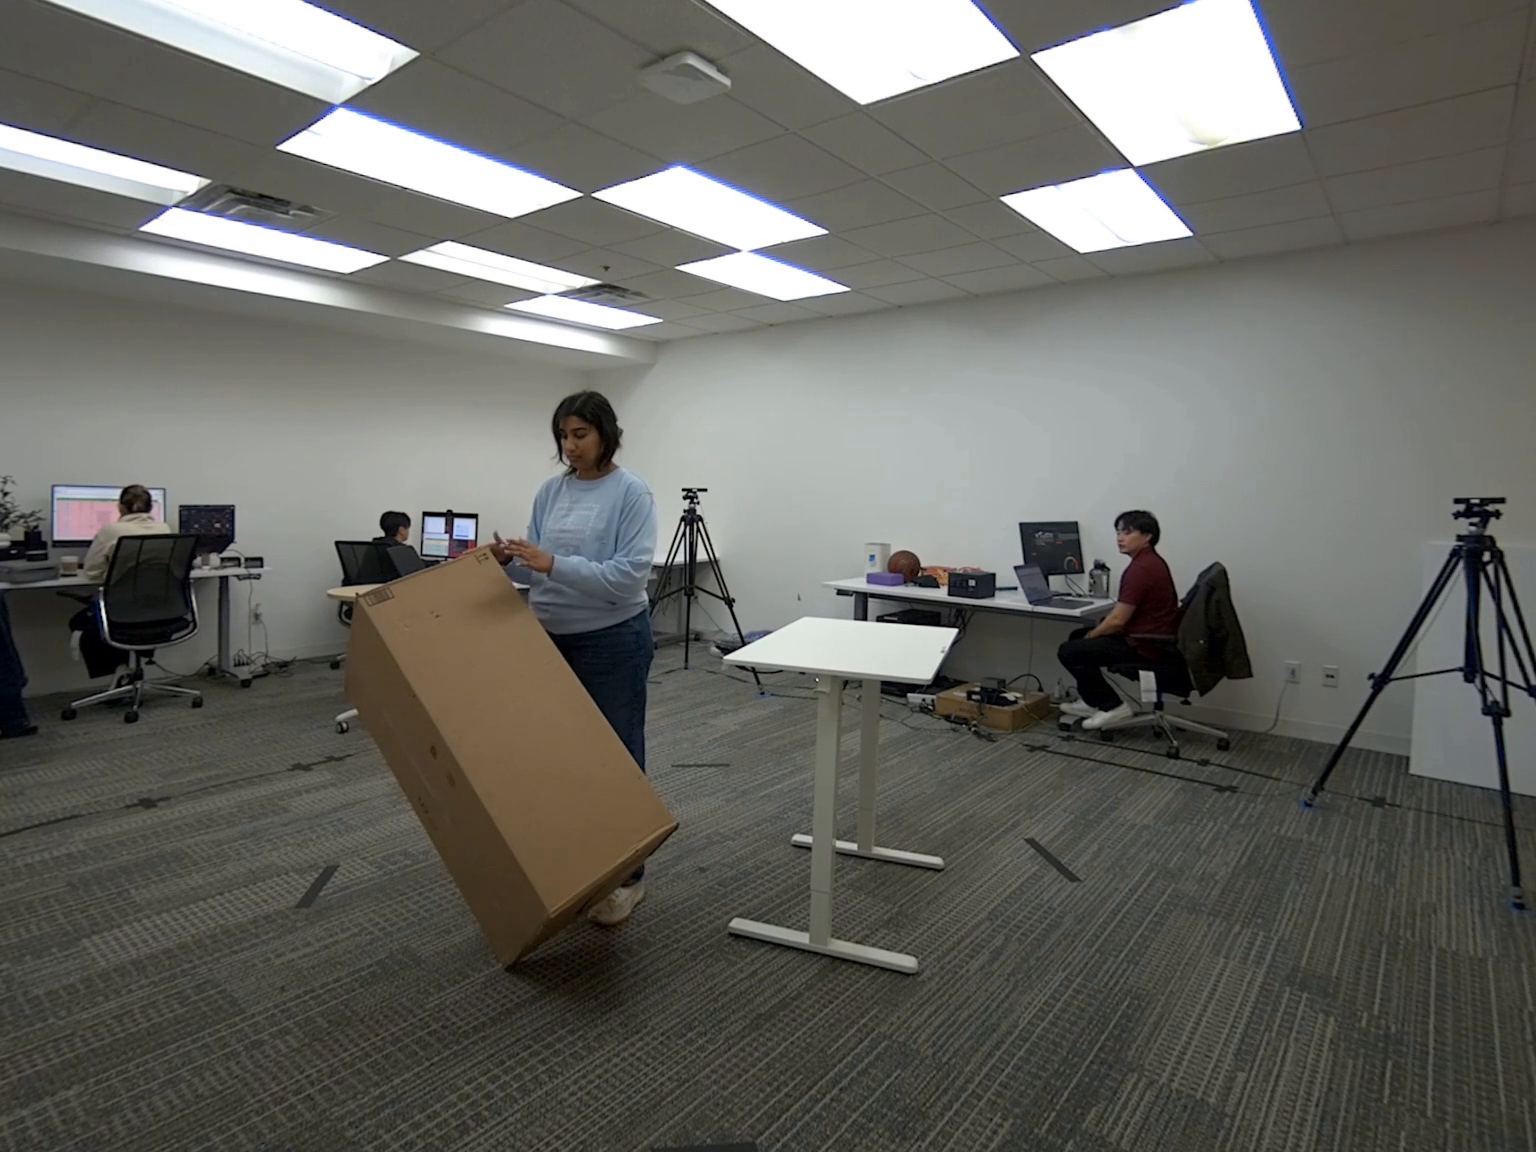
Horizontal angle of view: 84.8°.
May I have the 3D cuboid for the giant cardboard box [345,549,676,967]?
[{"bbox_3d":[-0.816,0.525,2.535,0.419,1.051,0.573,-24,-22,-41],"label":"giant cardboard box"}]
